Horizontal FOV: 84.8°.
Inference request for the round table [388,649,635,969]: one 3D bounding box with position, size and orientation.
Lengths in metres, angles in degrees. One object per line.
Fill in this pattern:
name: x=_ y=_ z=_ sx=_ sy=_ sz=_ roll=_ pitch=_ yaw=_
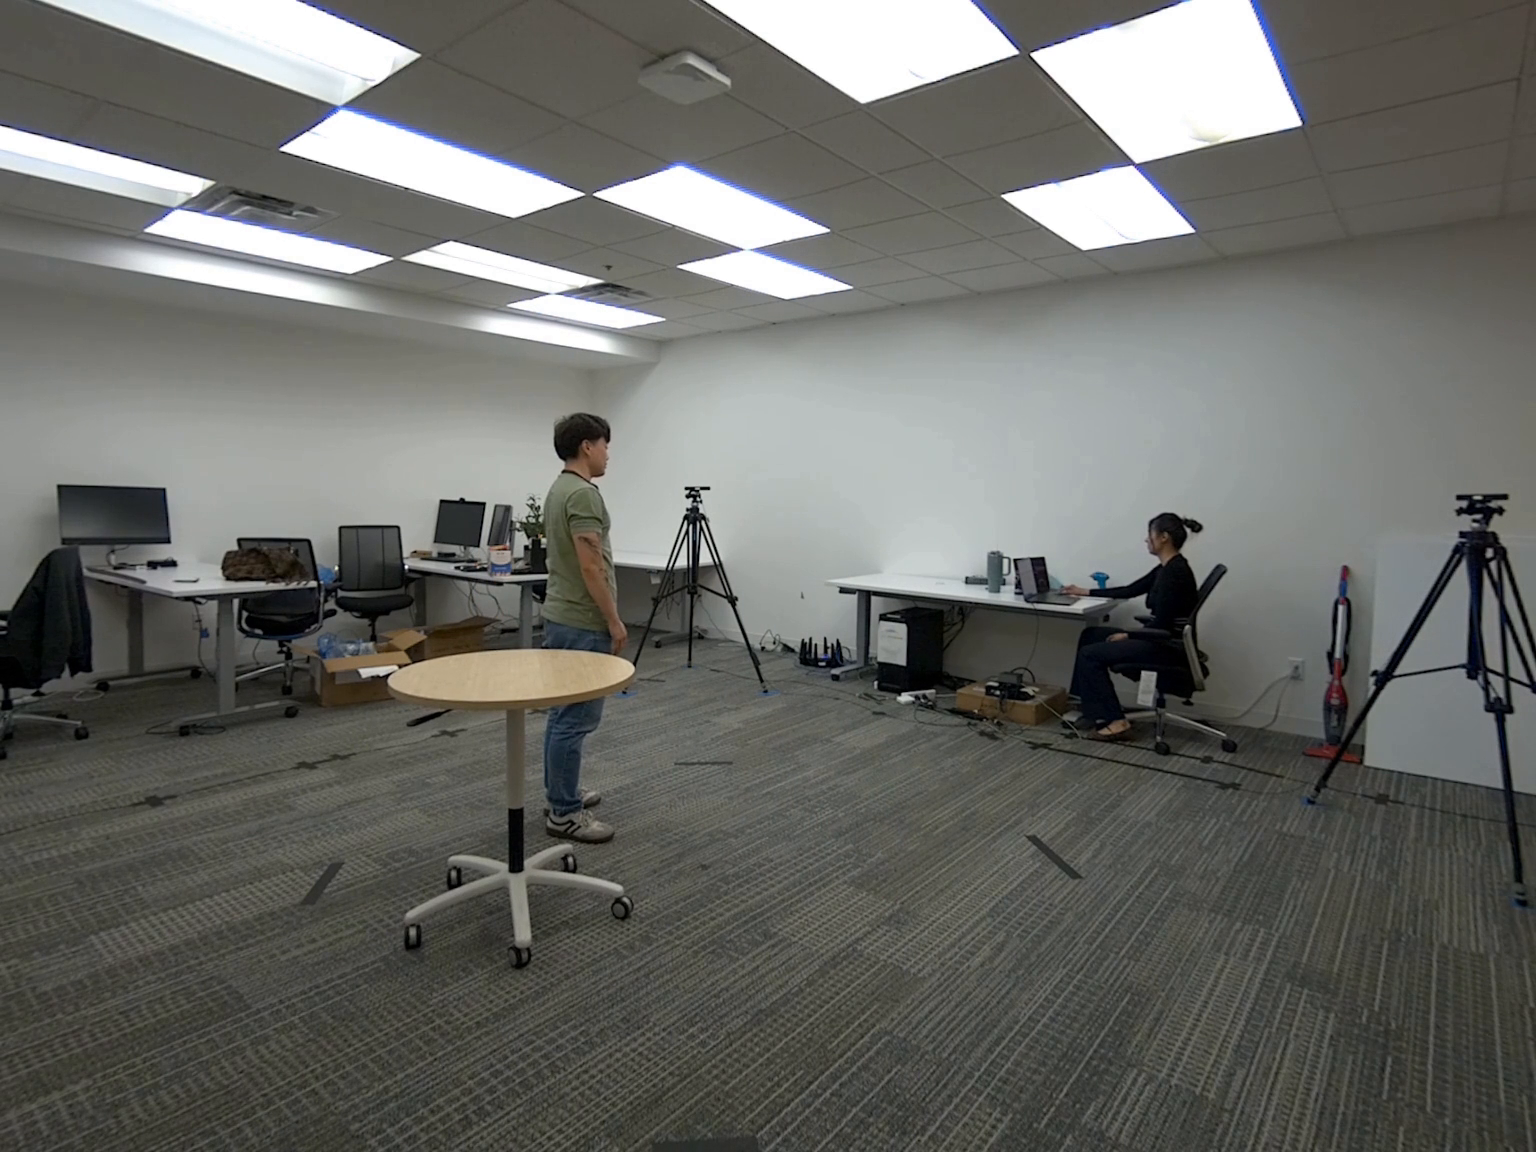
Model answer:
round table: x=-0.822 y=0.703 z=2.743 sx=0.763 sy=0.791 sz=0.768 roll=0 pitch=4 yaw=-2
